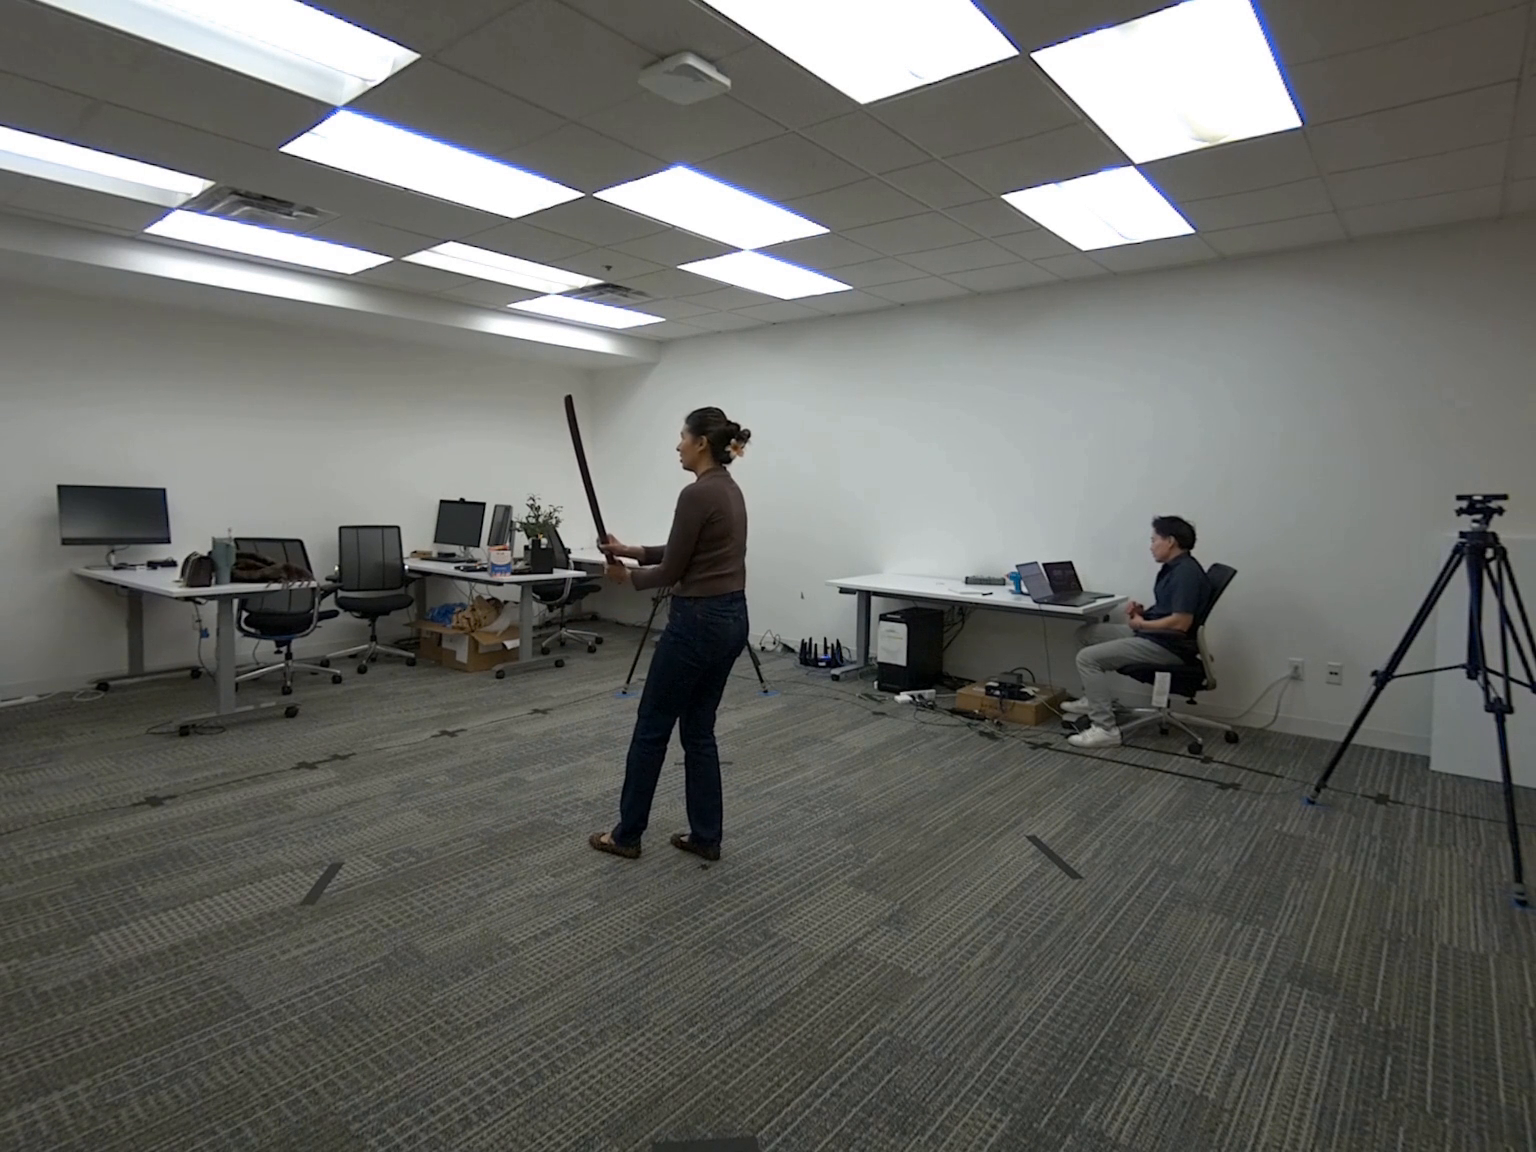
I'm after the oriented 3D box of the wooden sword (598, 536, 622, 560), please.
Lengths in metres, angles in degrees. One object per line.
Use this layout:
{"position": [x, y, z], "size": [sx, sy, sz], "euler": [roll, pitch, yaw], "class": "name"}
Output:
{"position": [-0.639, -0.289, 2.894], "size": [0.053, 0.024, 0.996], "euler": [37, -25, 21], "class": "wooden sword"}
